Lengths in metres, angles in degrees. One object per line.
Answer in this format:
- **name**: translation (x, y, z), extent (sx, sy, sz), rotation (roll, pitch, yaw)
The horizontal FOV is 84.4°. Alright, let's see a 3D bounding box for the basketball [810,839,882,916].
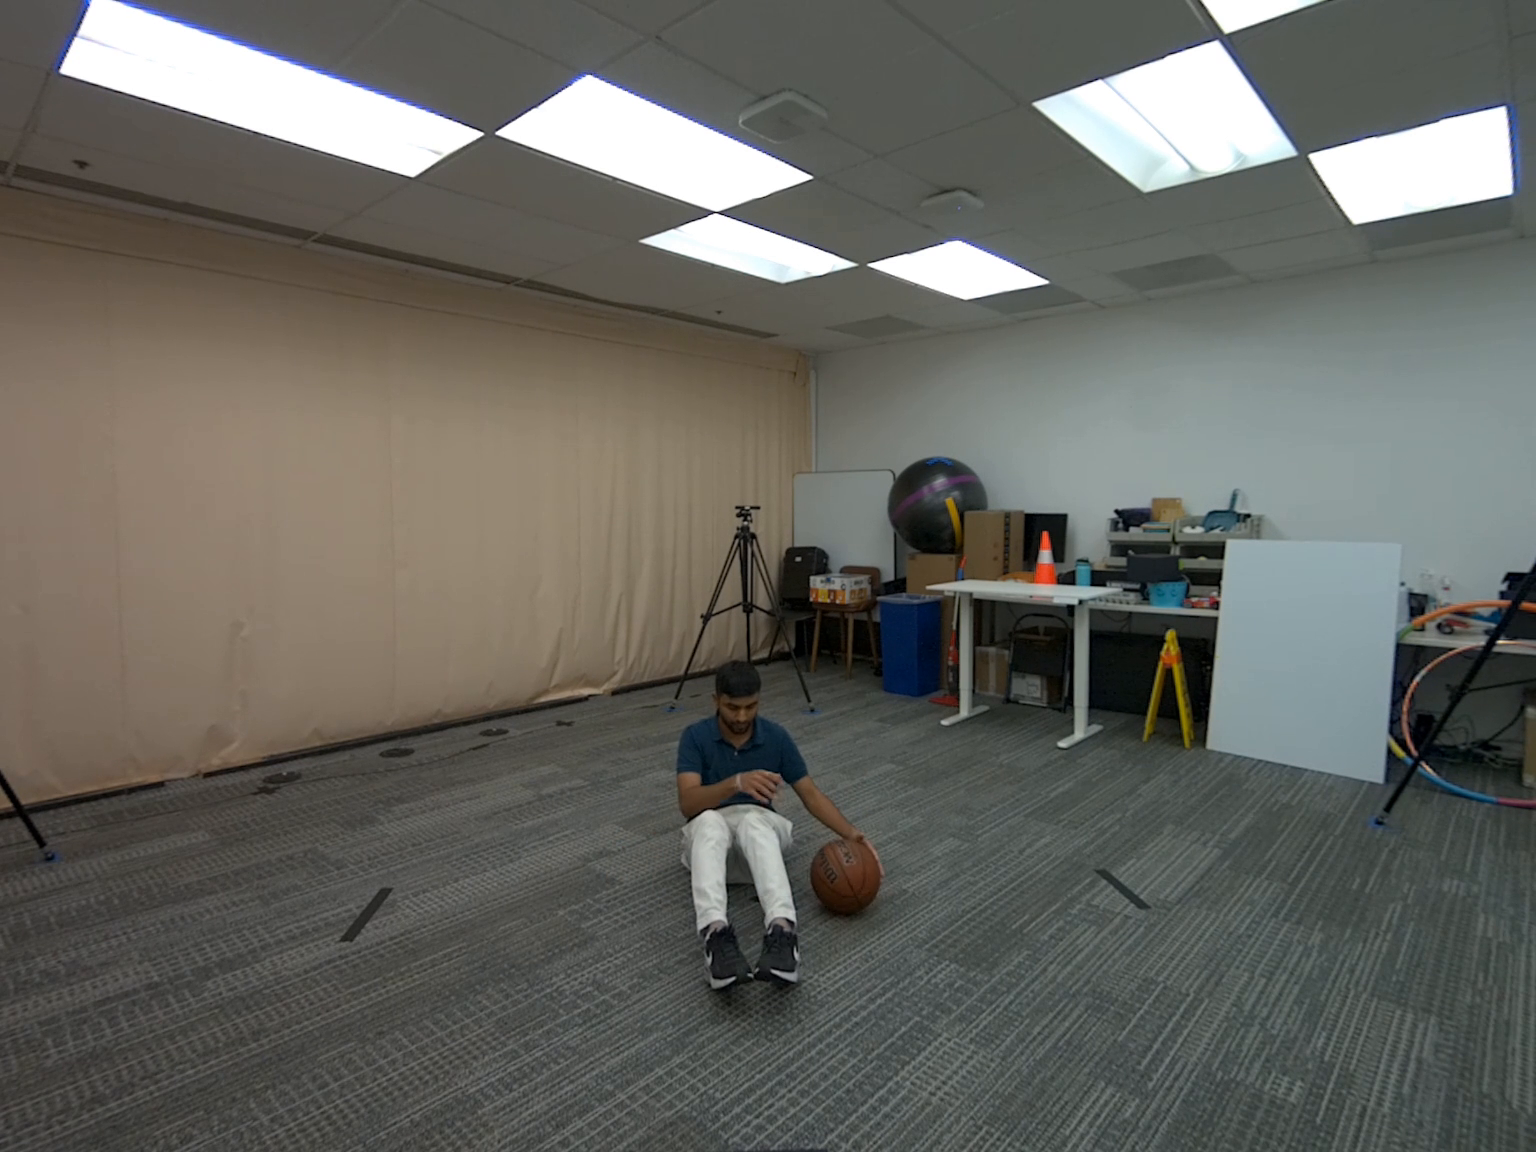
- **basketball**: translation (0.264, 1.027, 2.882), extent (0.236, 0.235, 0.237), rotation (0, 4, -2)
